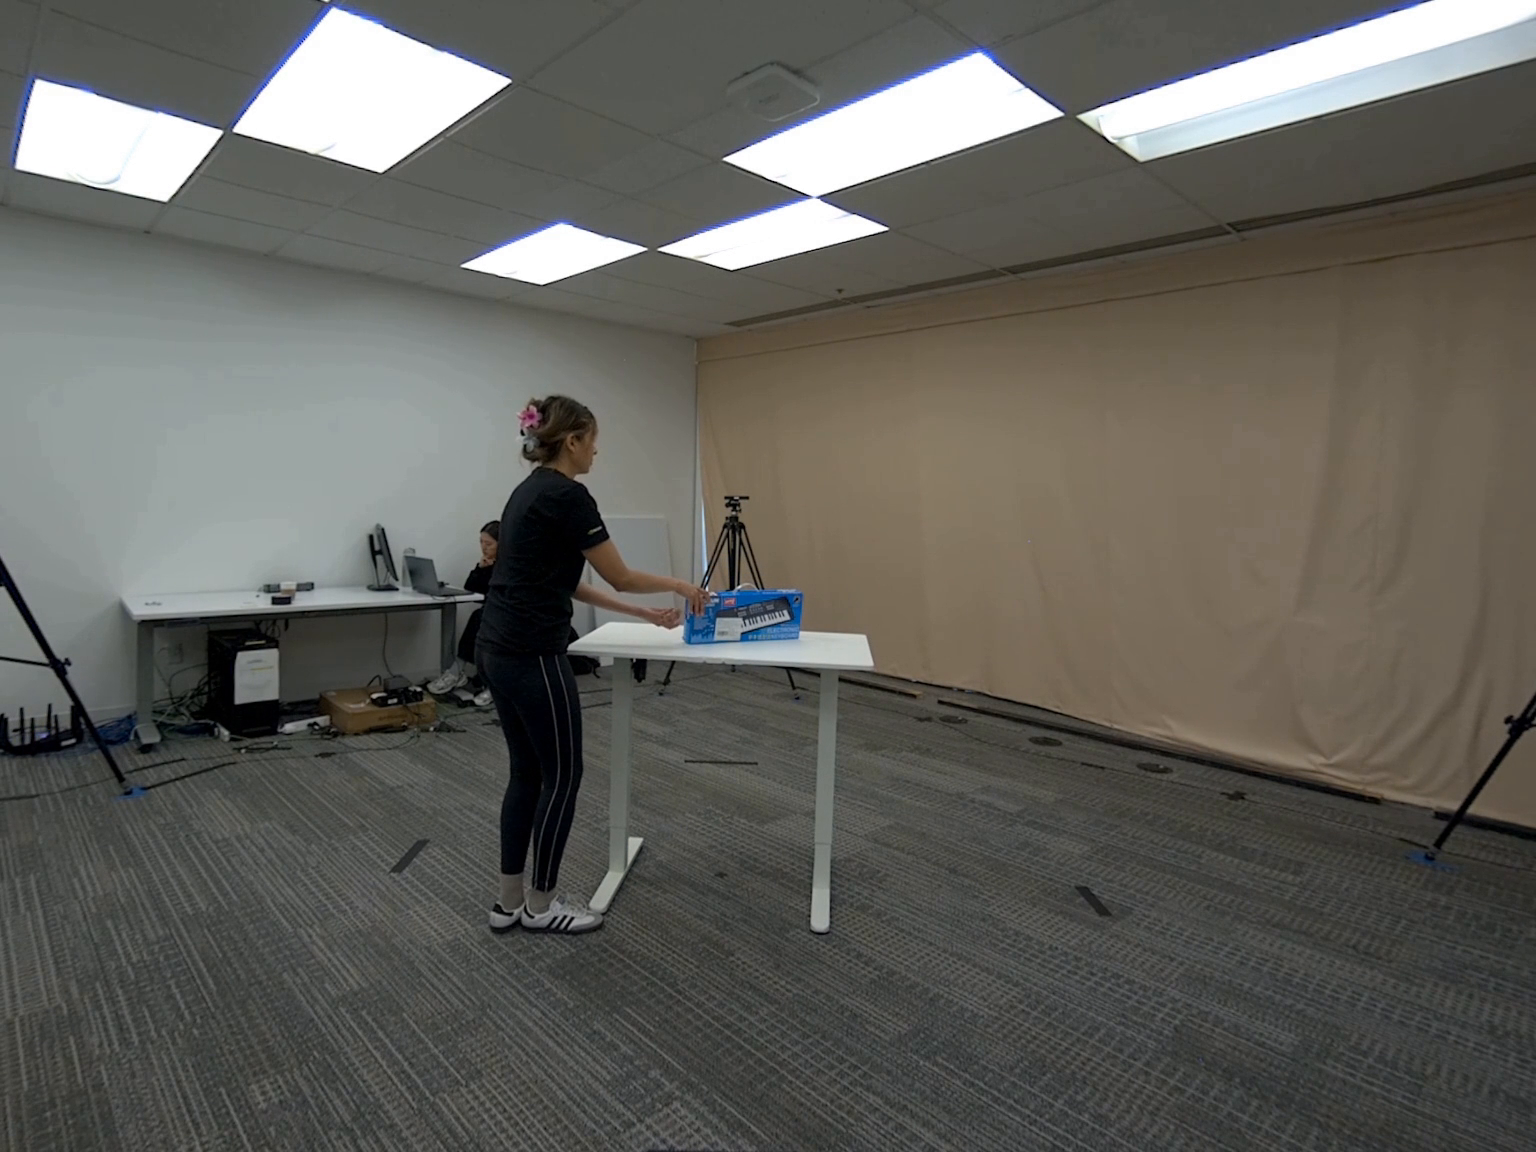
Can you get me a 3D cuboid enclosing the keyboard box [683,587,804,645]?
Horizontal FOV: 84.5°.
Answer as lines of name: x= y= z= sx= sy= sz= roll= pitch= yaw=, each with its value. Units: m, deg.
keyboard box: x=-0.093 y=0.147 z=2.992 sx=0.429 sy=0.175 sz=0.060 roll=-1 pitch=9 yaw=-26
